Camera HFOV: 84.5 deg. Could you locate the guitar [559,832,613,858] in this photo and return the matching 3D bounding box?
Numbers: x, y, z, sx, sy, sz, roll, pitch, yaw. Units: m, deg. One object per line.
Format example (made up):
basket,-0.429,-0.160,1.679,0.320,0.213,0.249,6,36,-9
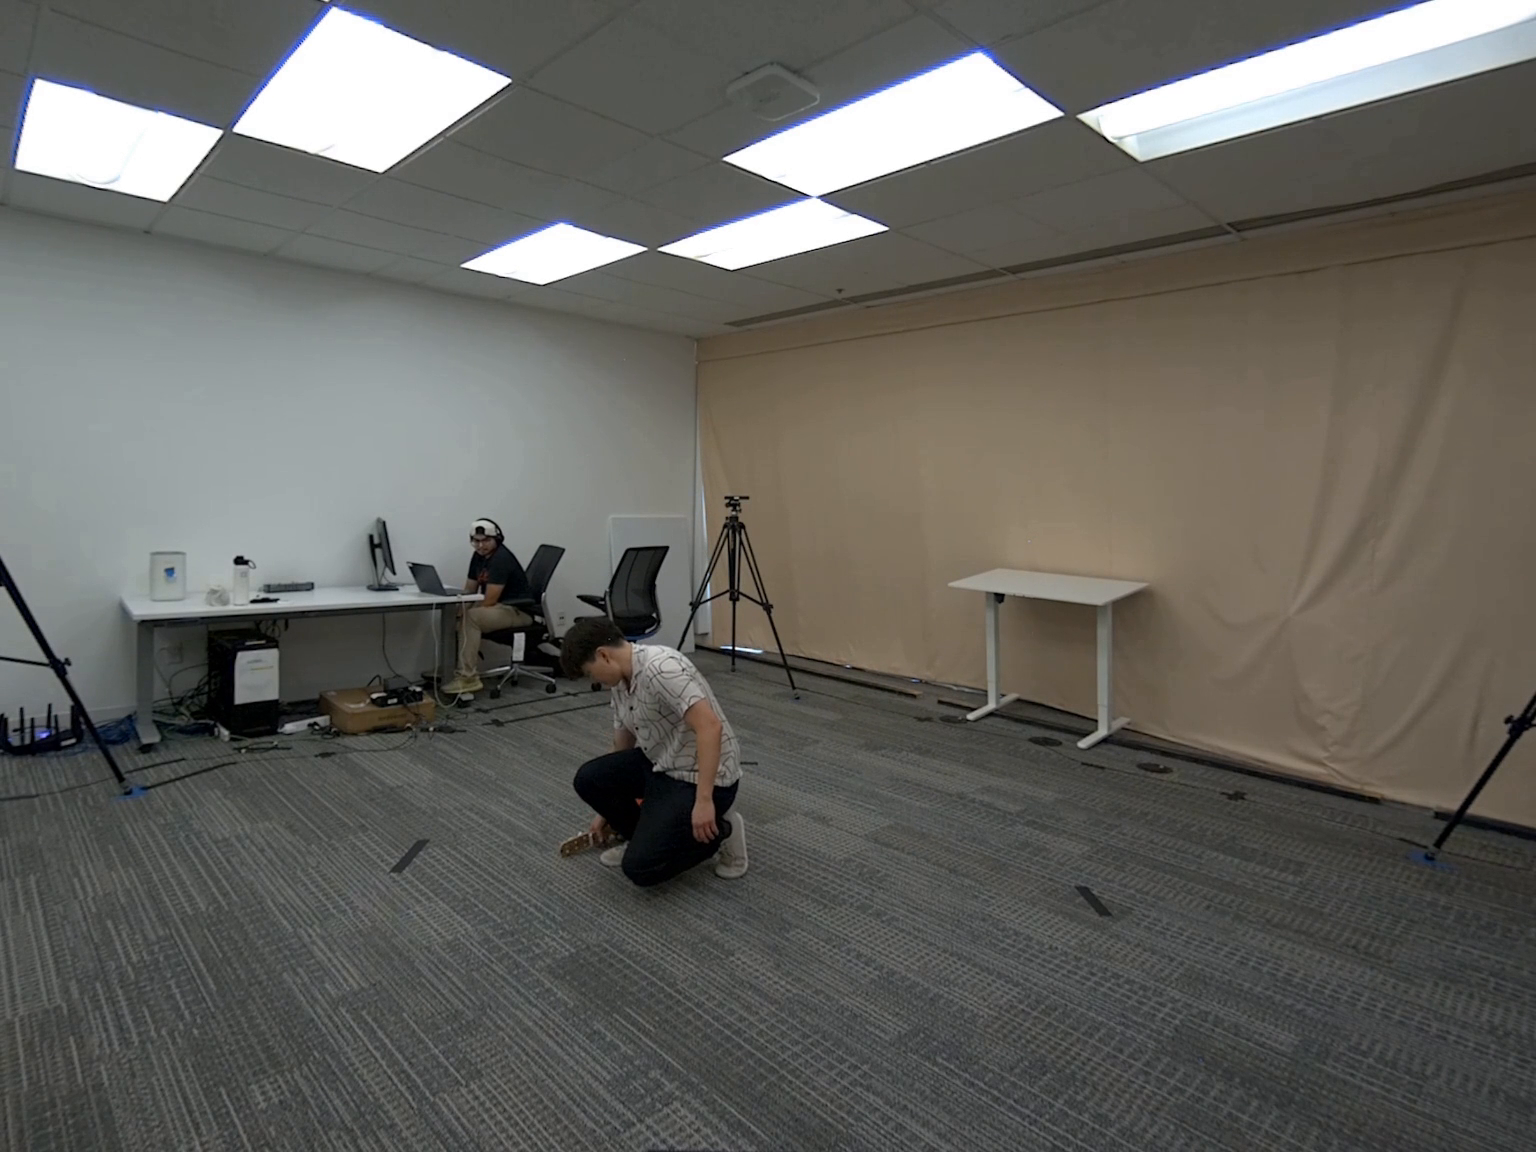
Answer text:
guitar,-0.620,0.976,3.383,0.487,0.192,0.072,-3,9,-36
